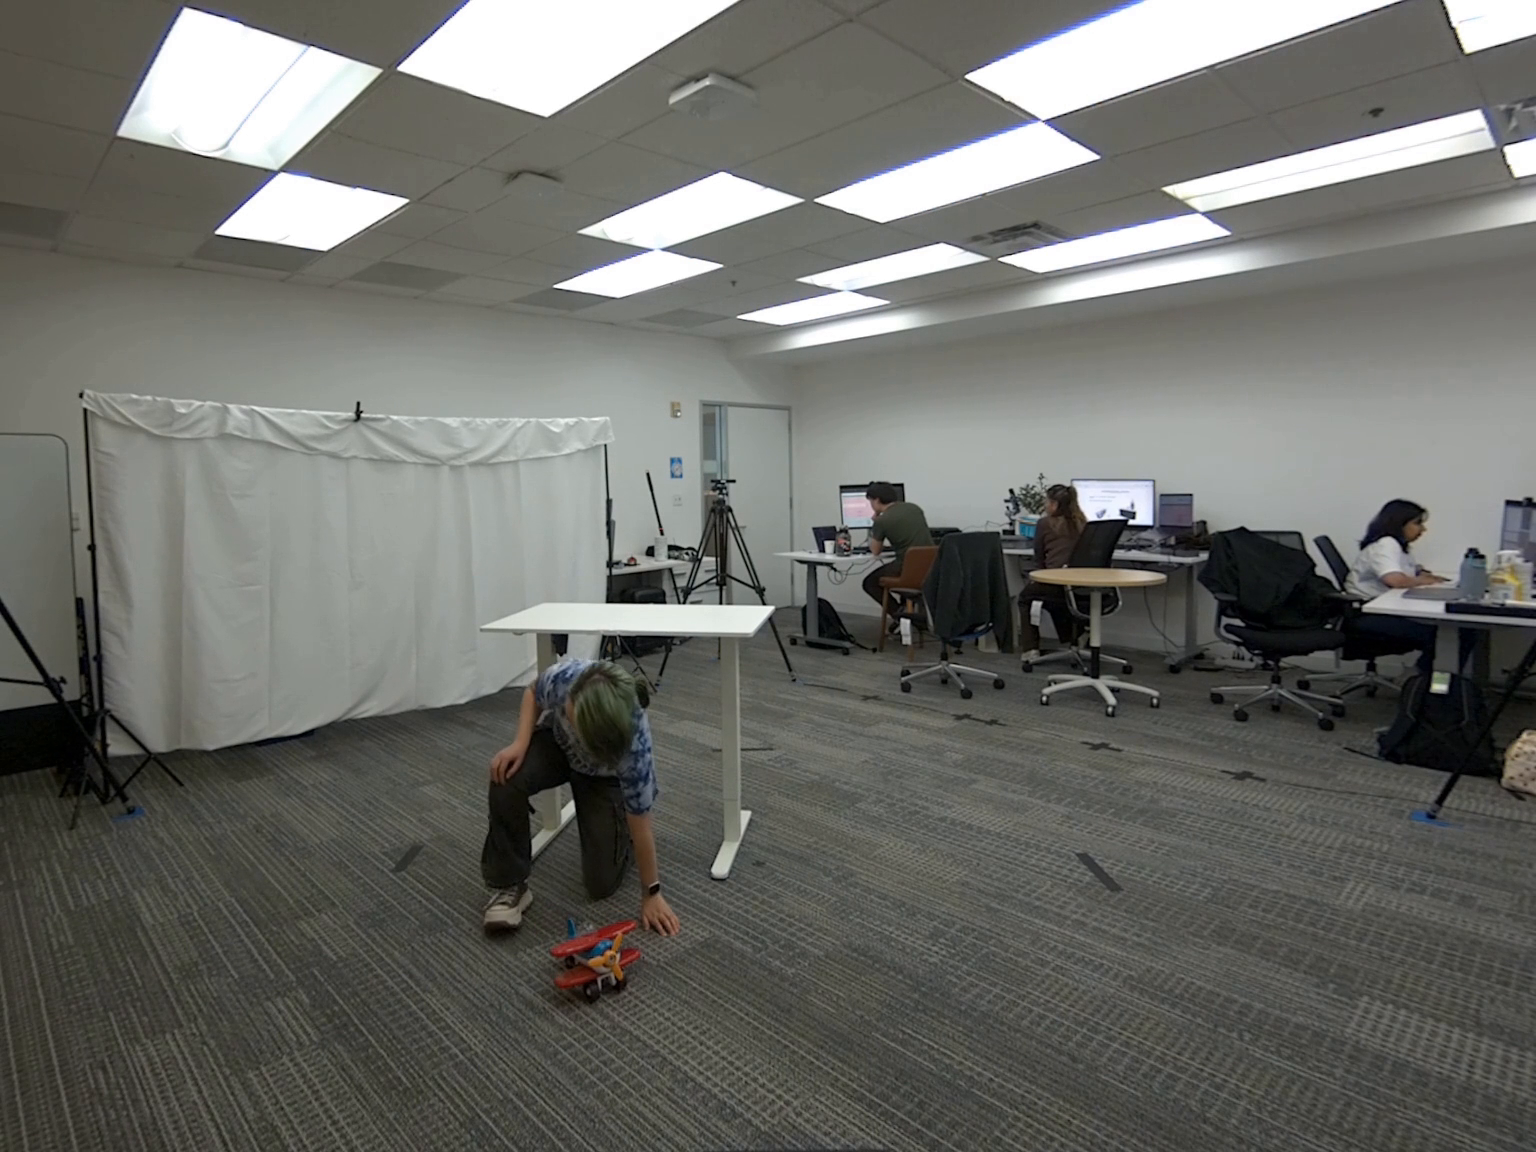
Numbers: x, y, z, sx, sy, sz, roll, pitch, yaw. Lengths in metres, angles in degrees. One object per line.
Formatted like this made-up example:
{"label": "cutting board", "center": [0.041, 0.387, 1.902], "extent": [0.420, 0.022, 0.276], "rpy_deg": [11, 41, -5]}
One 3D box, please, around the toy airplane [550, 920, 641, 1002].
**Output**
{"label": "toy airplane", "center": [-0.513, 1.072, 2.389], "extent": [0.265, 0.155, 0.246], "rpy_deg": [3, 7, 25]}
